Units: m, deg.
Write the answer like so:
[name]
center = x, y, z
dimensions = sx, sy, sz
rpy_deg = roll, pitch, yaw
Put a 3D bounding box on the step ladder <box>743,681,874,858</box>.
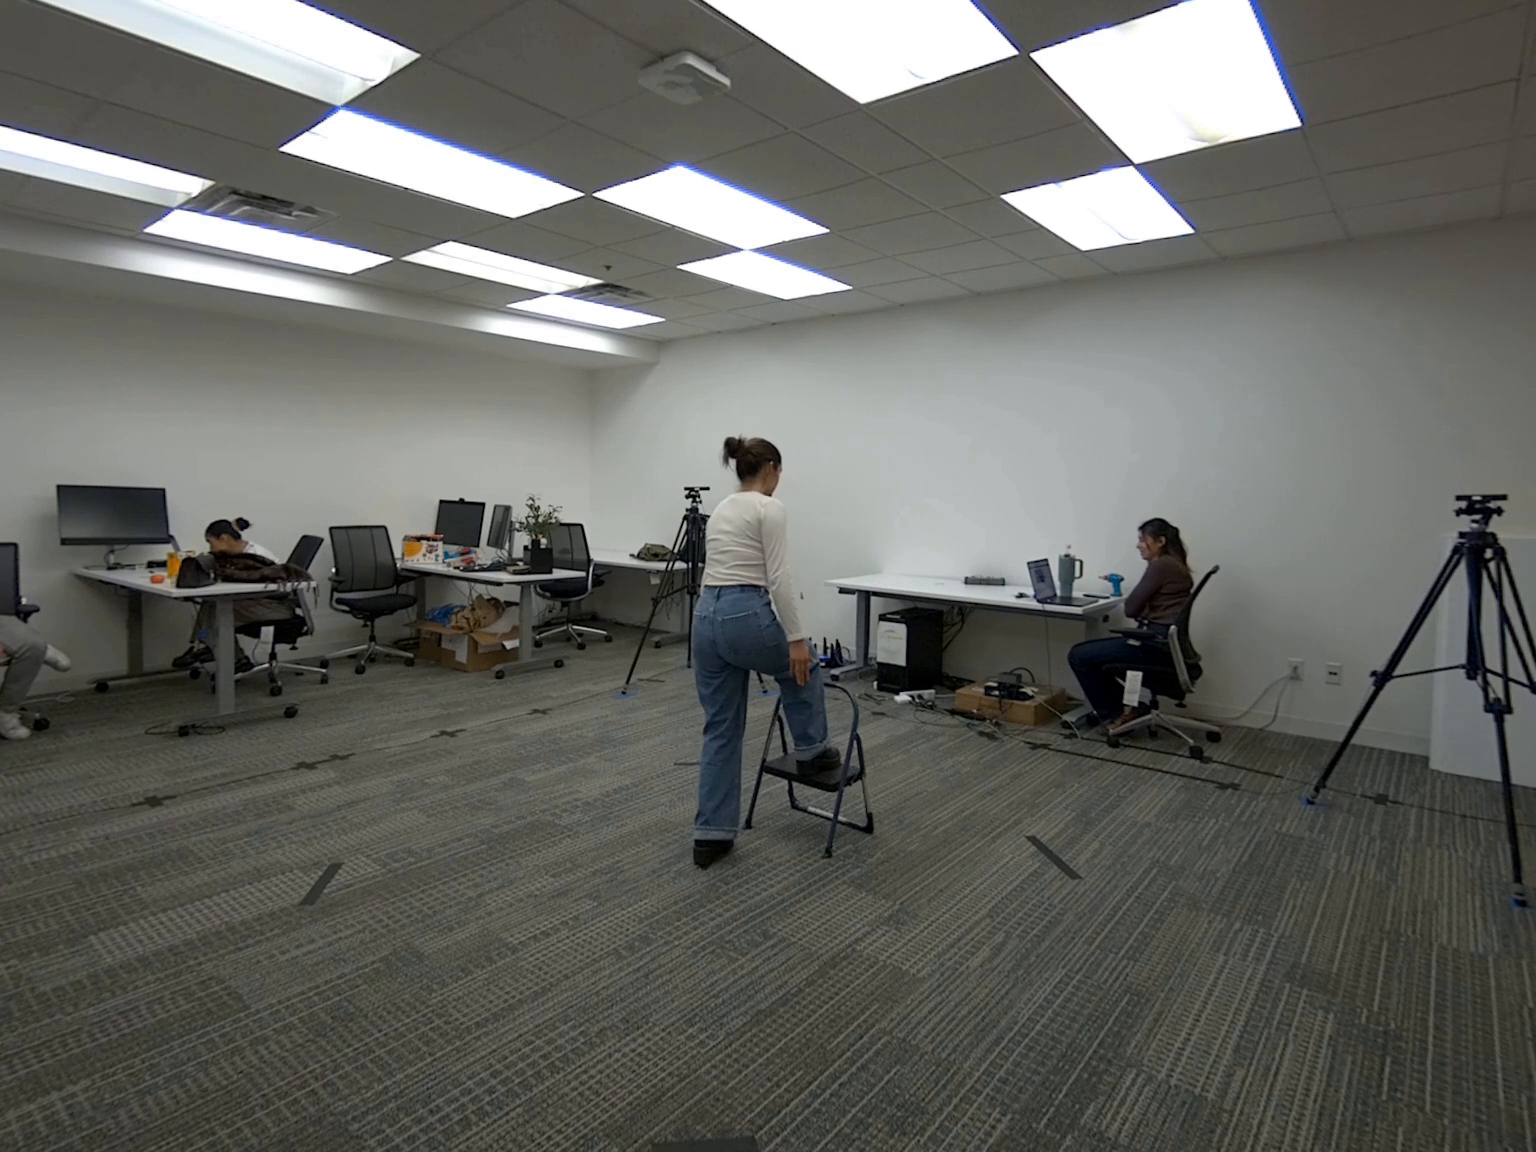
[step ladder]
center = 0.165, 0.735, 3.463
dimensions = 0.445, 0.604, 0.339
rpy_deg = 5, 5, 39
